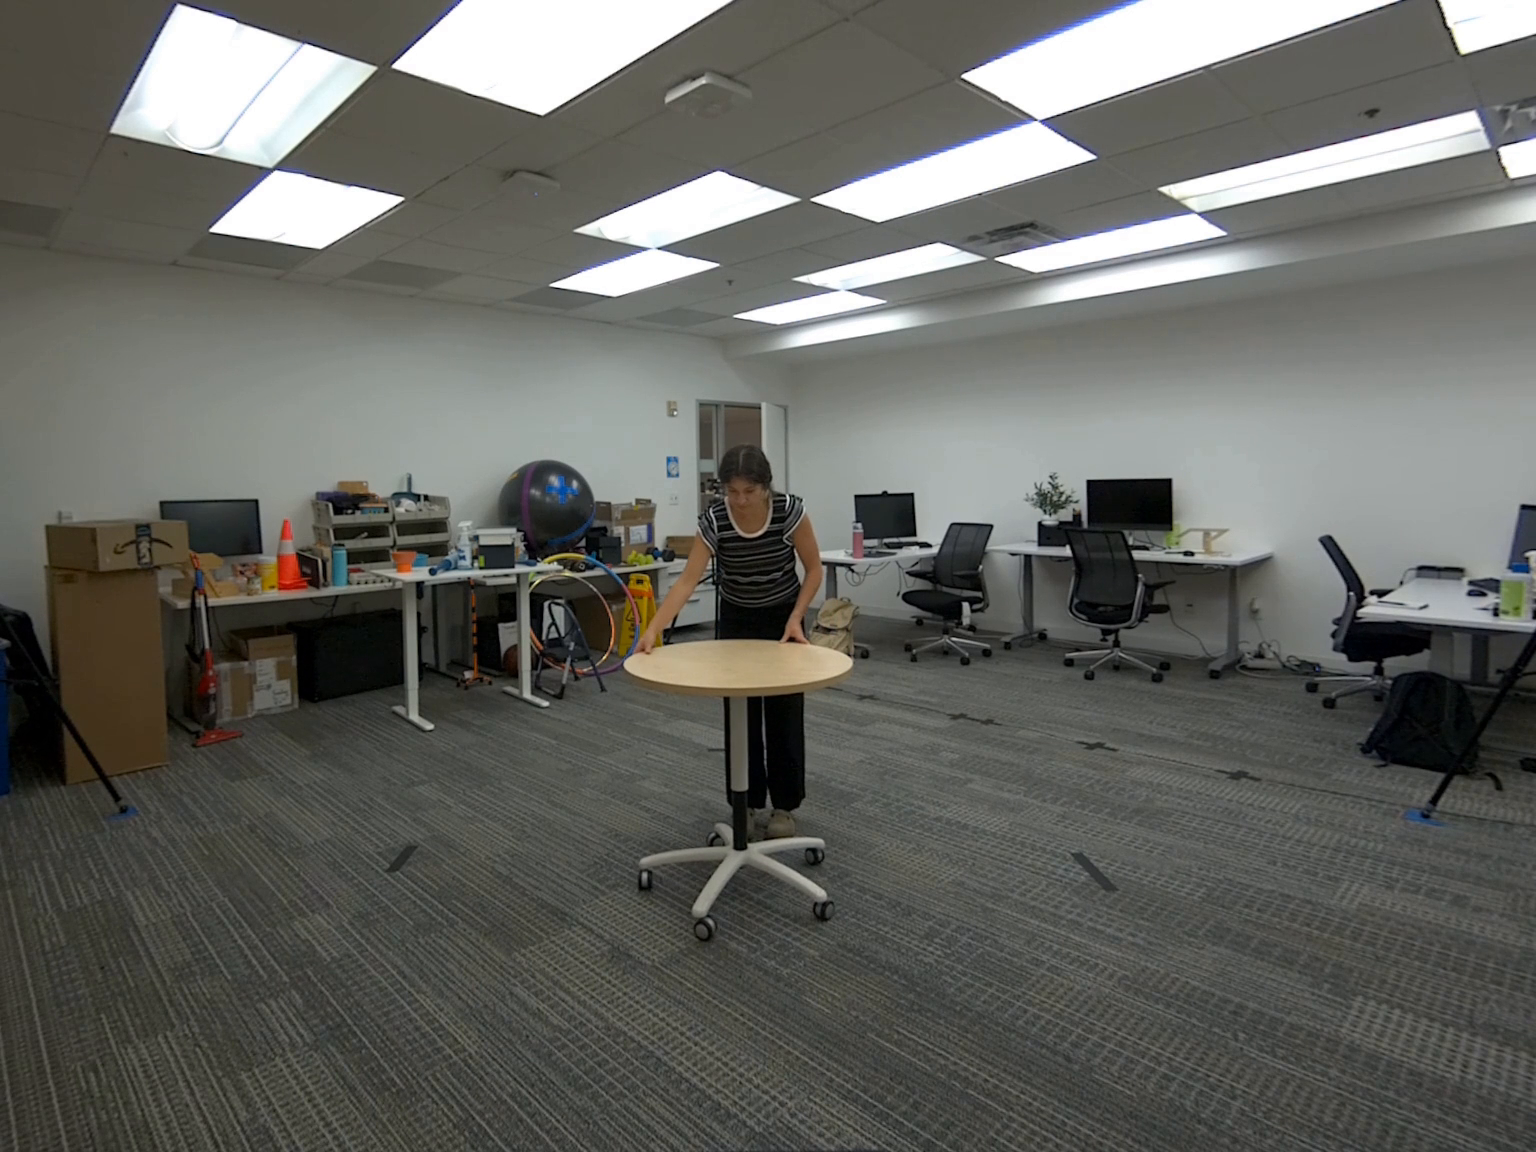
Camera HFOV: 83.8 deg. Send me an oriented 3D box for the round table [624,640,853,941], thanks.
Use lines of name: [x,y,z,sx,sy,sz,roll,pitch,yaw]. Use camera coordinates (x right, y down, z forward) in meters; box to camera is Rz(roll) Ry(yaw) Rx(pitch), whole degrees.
round table: [-0.088,0.679,2.876,0.784,0.783,0.789,-1,5,-2]
